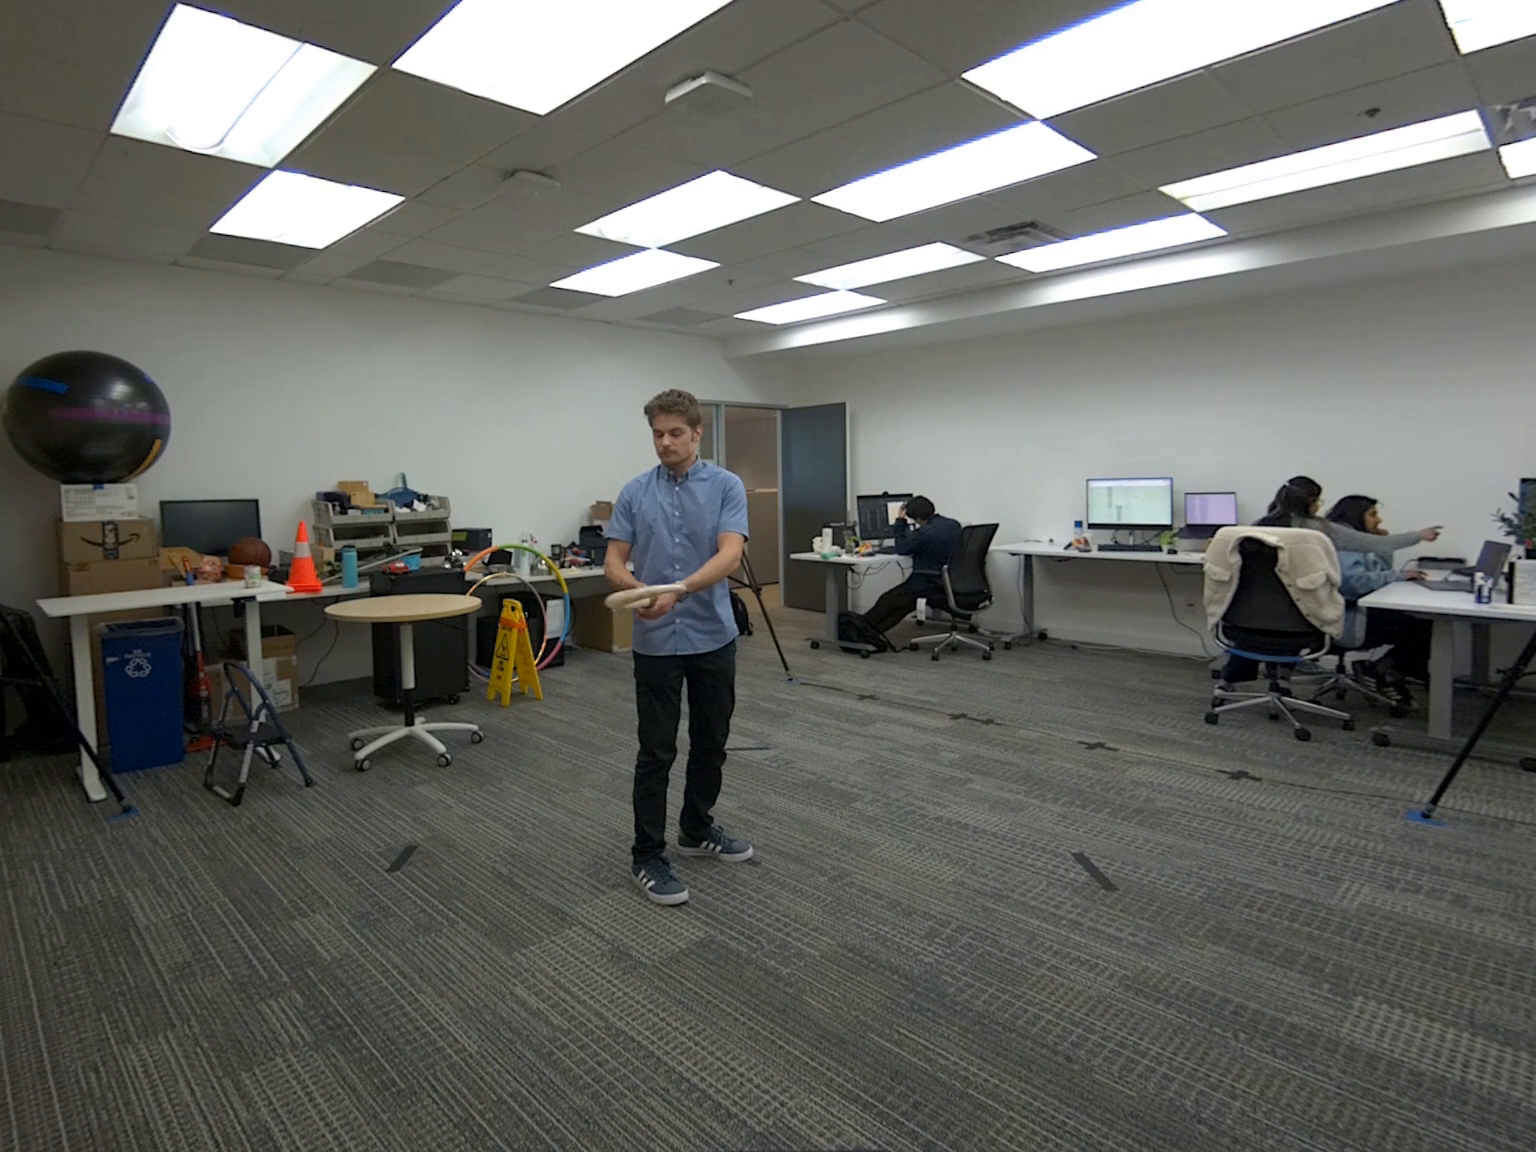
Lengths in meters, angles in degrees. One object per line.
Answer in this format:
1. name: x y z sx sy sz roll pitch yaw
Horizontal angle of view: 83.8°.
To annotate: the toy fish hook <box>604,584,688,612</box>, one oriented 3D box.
1. toy fish hook: -0.329 0.071 2.592 0.226 0.048 0.500 -9 -5 7
